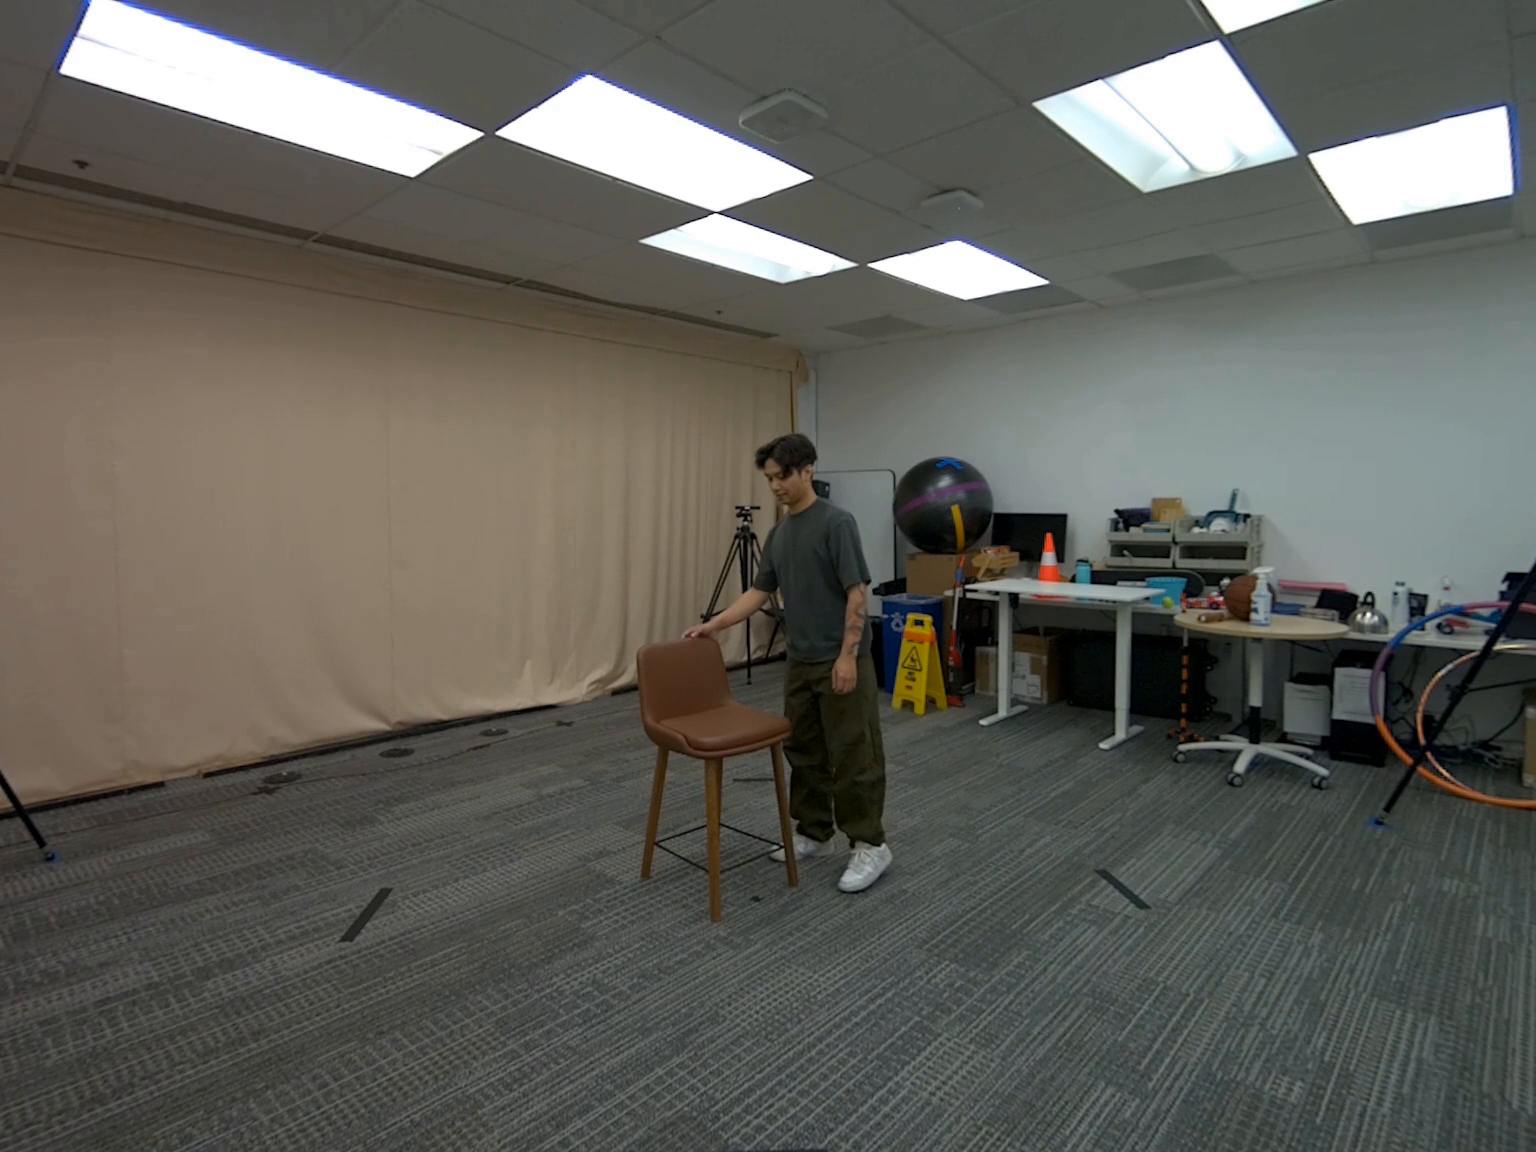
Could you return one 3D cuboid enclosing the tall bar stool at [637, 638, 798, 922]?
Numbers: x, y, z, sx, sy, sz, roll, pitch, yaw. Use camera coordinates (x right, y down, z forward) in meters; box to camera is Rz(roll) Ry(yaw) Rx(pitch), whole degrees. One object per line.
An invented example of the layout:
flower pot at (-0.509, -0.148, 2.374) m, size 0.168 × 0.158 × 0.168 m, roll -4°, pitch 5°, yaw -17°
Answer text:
tall bar stool at (-0.203, 0.702, 3.096) m, size 0.442 × 0.889 × 0.483 m, roll -3°, pitch 2°, yaw -44°
